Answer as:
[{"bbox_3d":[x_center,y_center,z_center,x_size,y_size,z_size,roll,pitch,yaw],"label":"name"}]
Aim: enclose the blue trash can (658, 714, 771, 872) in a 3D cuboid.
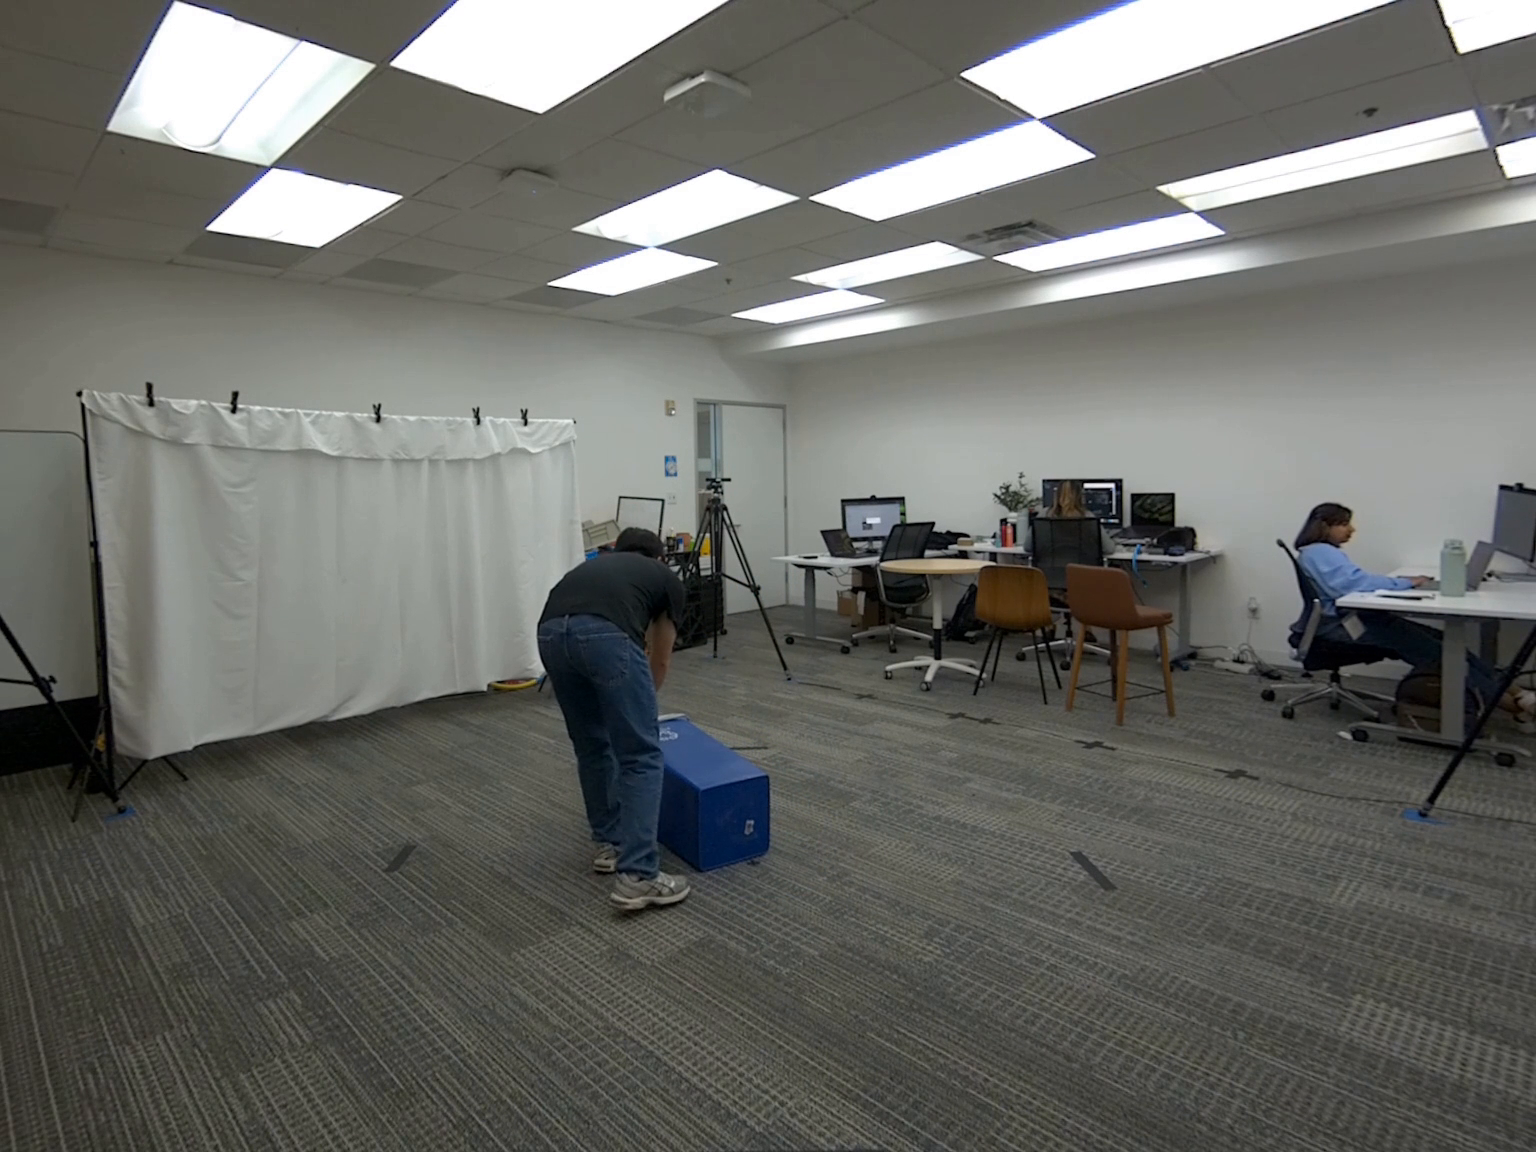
[{"bbox_3d":[-0.307,0.847,3.400,0.365,0.376,0.736,-4,9,-33],"label":"blue trash can"}]
